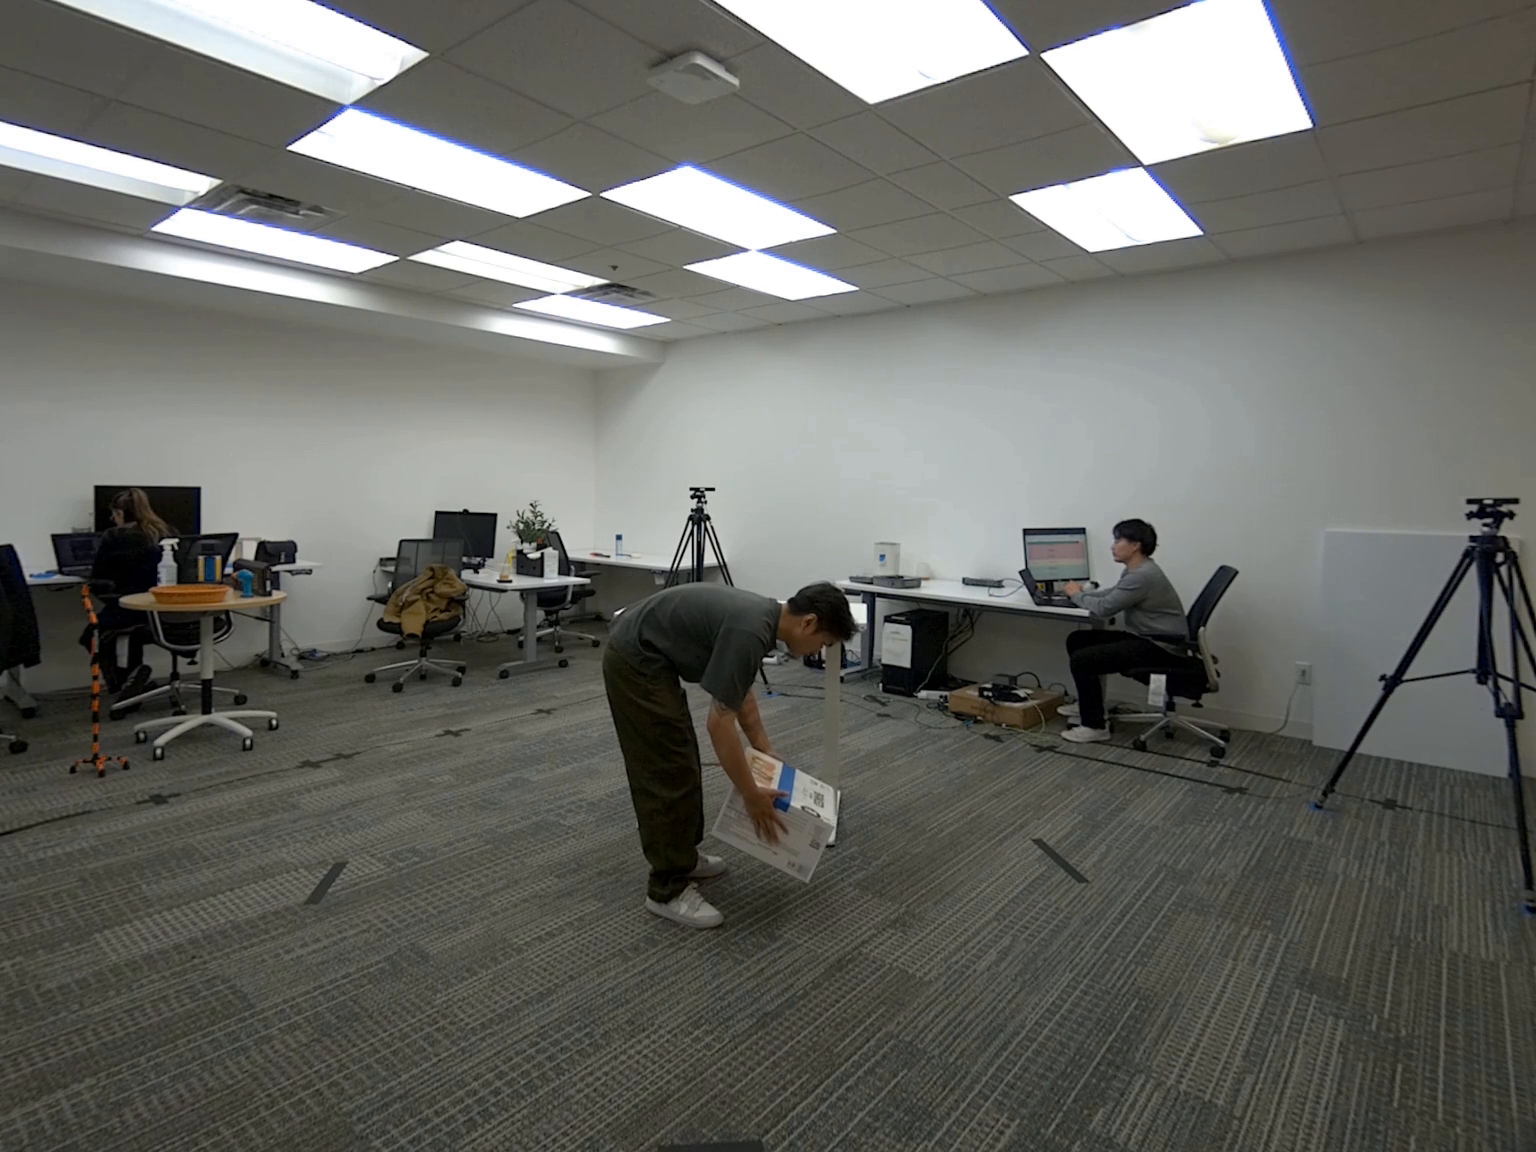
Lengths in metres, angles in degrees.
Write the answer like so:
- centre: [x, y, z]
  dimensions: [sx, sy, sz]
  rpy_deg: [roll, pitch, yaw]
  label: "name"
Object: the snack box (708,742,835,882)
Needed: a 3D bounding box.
- centre: [0.022, 0.781, 2.846]
  dimensions: [0.343, 0.205, 0.403]
  rpy_deg: [24, 5, 4]
  label: "snack box"
